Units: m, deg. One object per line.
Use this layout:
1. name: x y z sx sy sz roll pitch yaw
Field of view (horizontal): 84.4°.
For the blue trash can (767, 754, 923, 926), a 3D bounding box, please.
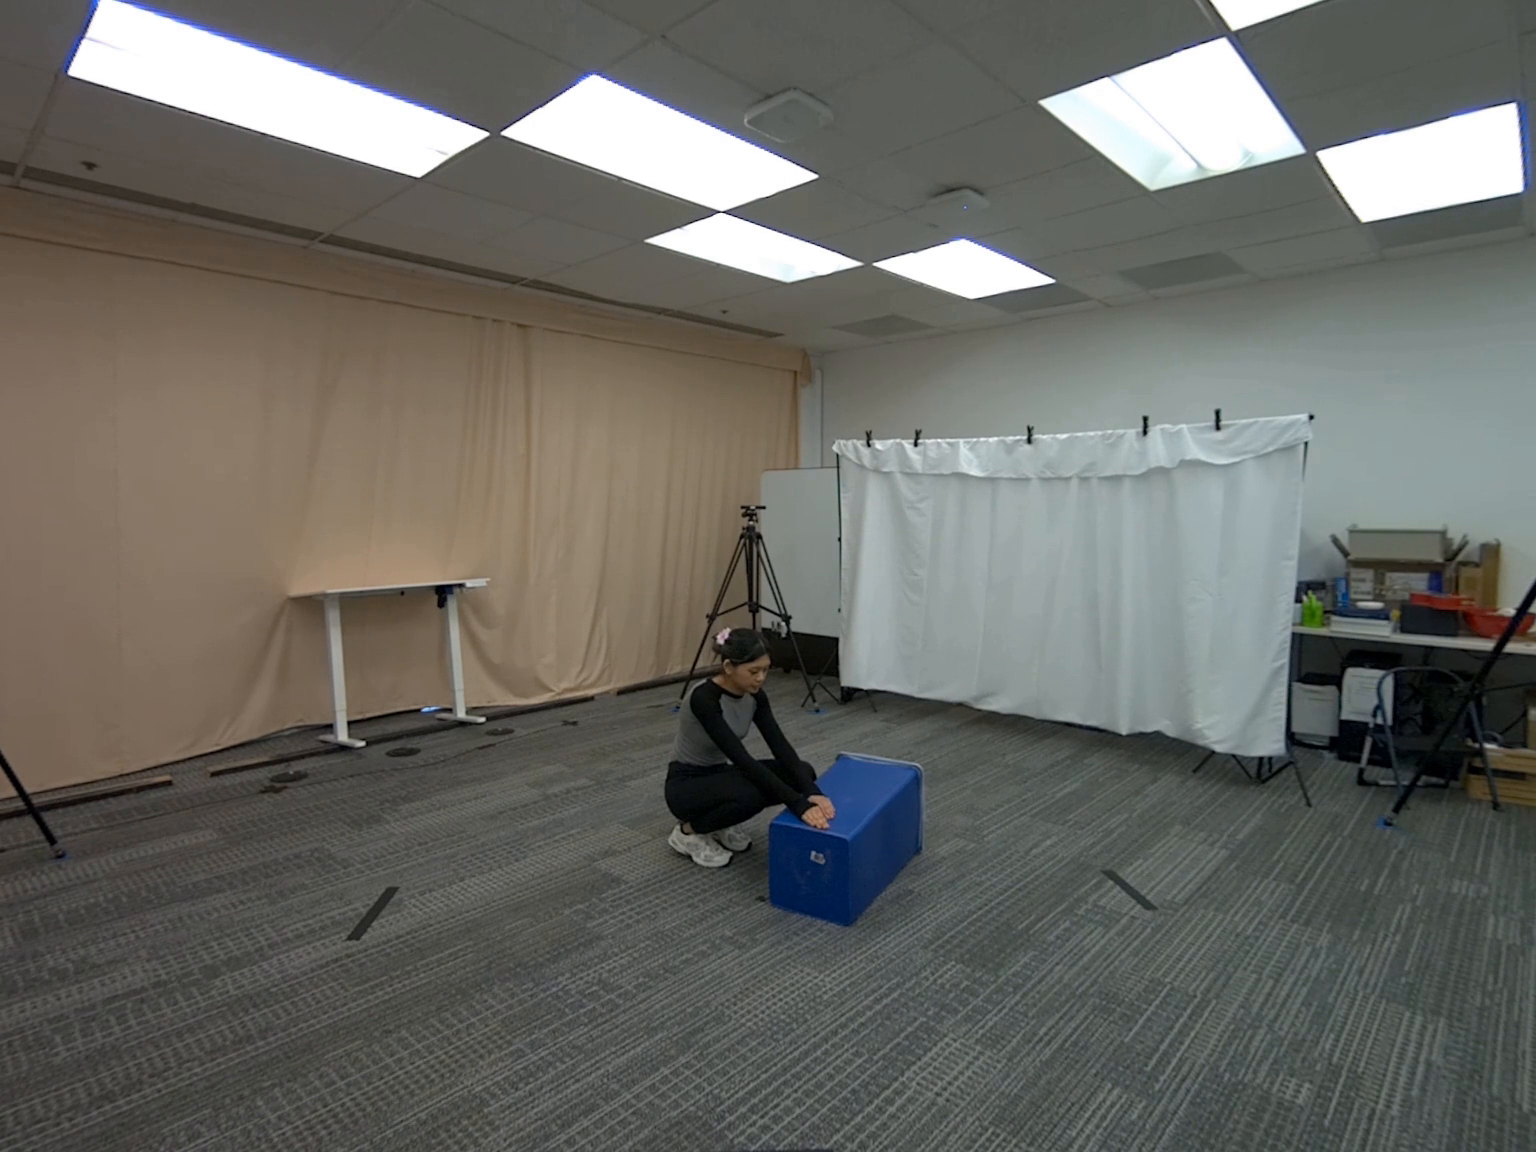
1. blue trash can: 0.298 0.960 3.143 0.385 0.376 0.696 3 8 28
